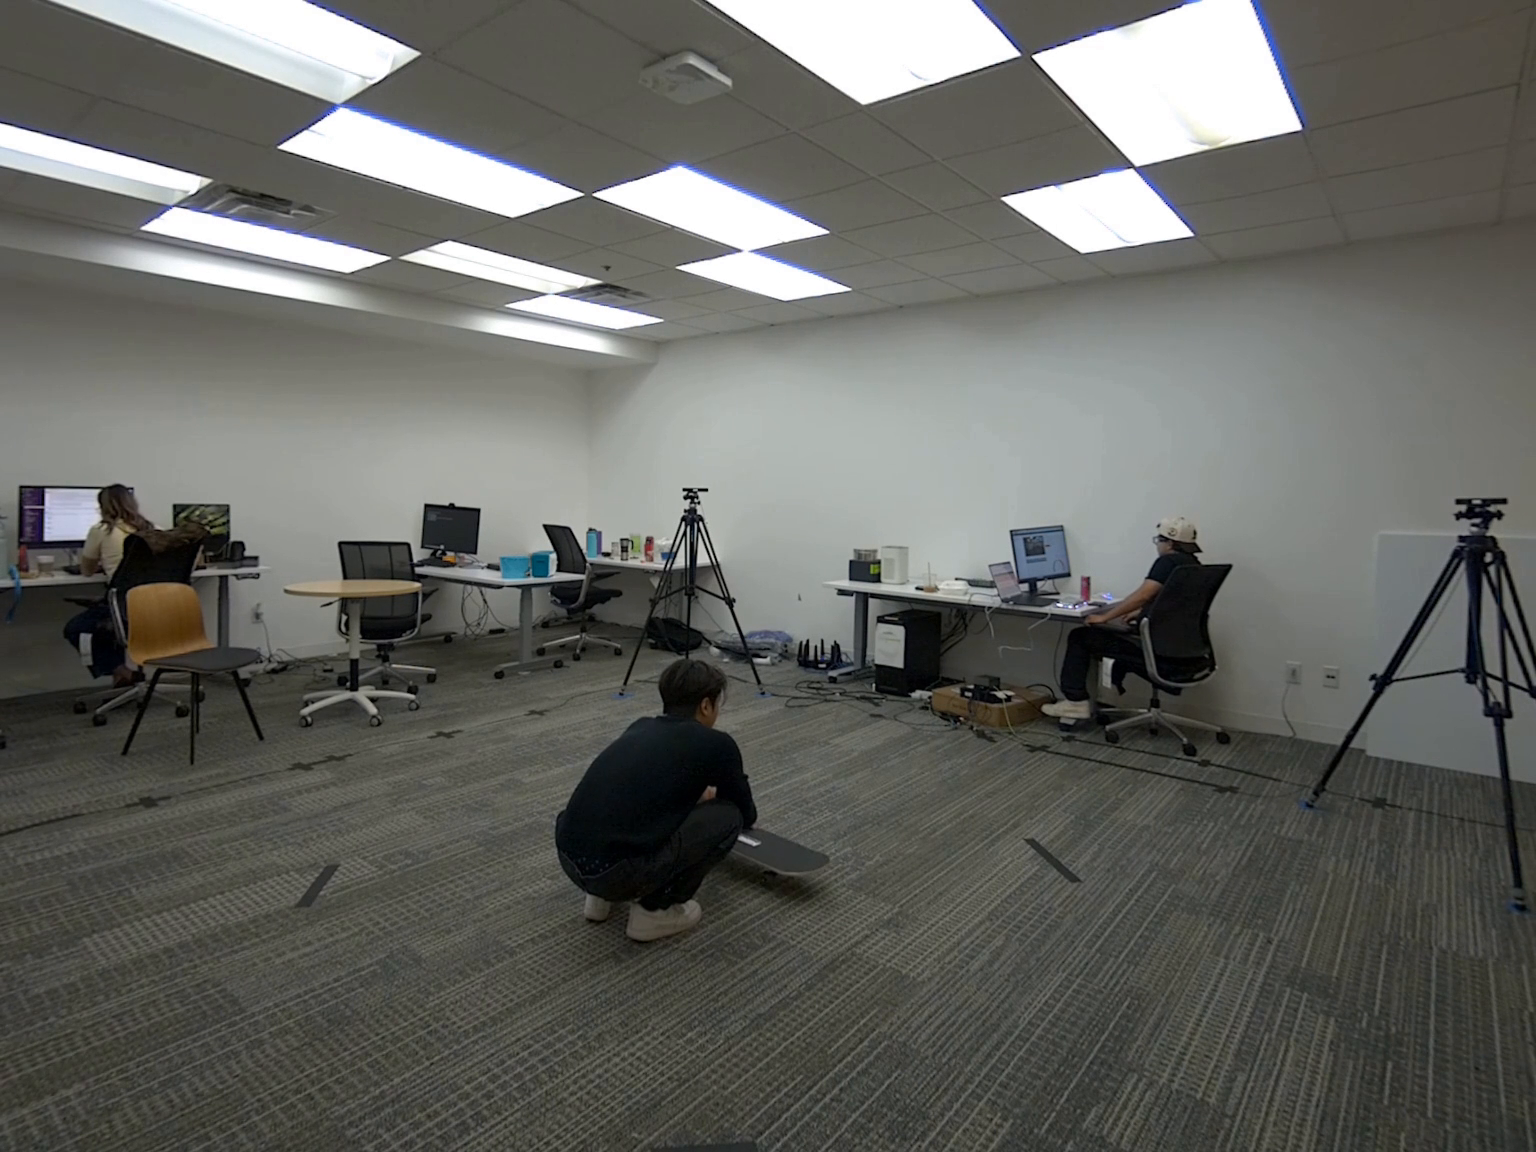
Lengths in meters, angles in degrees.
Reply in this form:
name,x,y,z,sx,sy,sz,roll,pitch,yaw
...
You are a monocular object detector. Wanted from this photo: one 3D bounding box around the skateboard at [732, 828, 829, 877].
name,x,y,z,sx,sy,sz,roll,pitch,yaw
skateboard,-0.123,0.987,3.151,0.813,0.109,0.188,8,13,40
